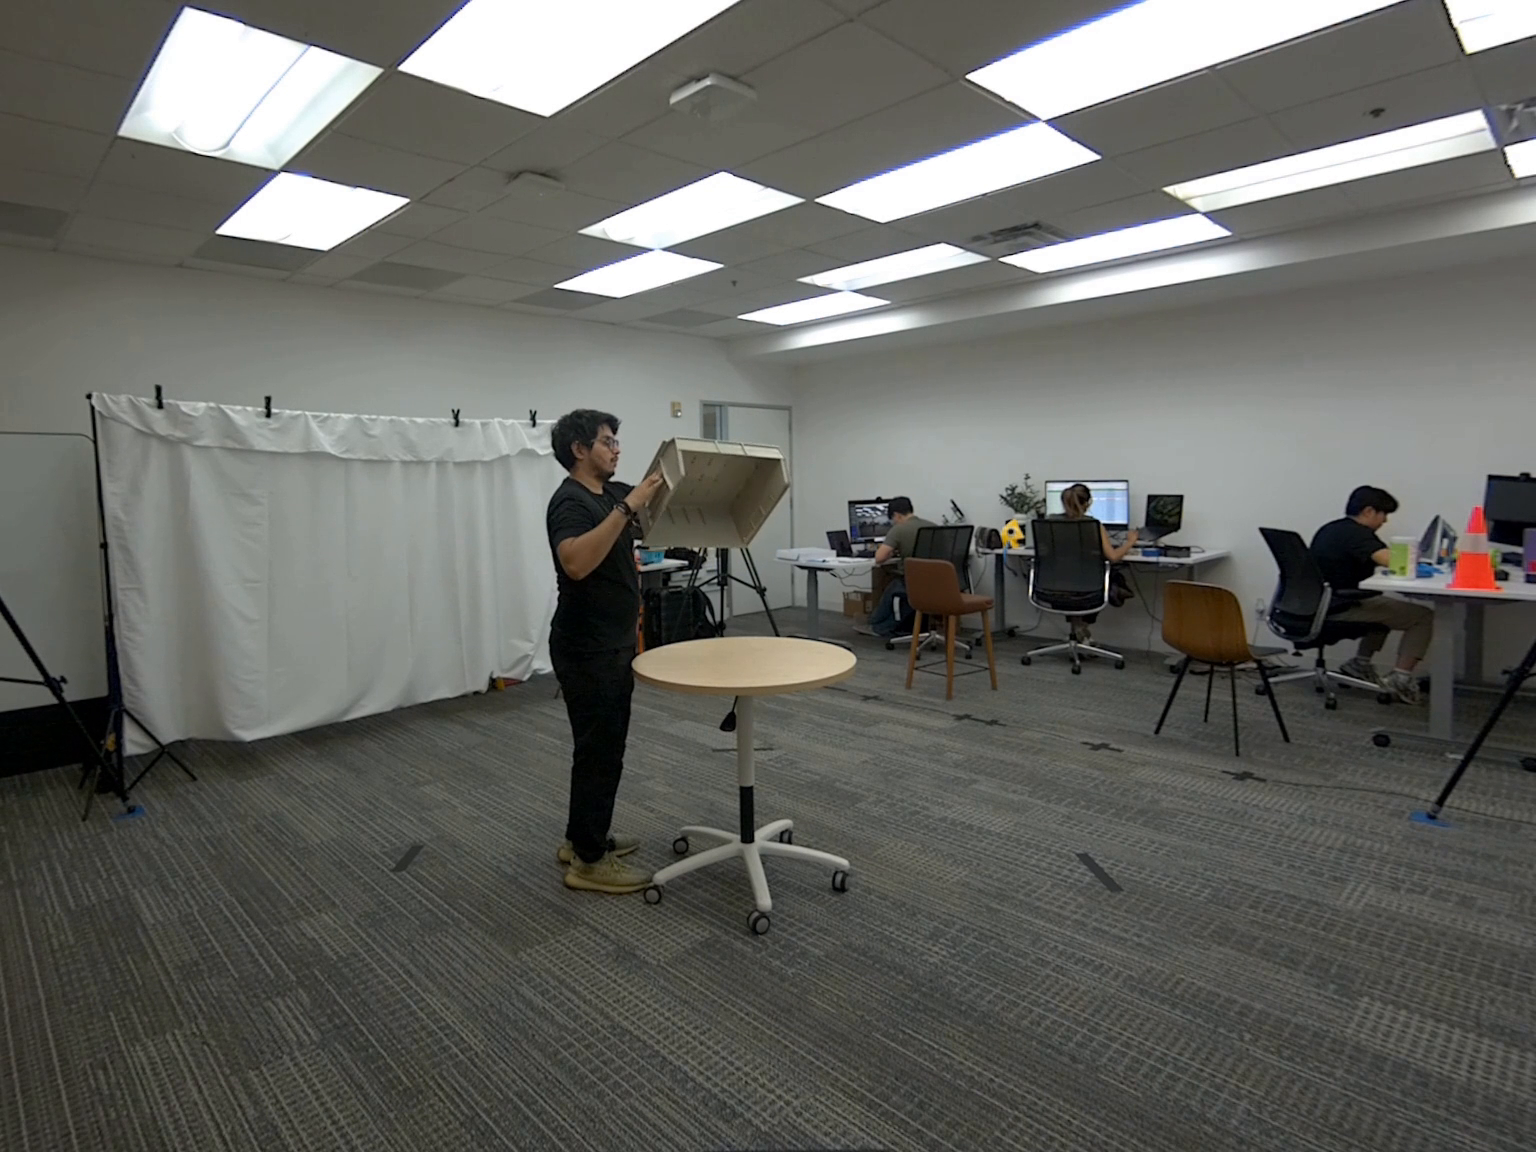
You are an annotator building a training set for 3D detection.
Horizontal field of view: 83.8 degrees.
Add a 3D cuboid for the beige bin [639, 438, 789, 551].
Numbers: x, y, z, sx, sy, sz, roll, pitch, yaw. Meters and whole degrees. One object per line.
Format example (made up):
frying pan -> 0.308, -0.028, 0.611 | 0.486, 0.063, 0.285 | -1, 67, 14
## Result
beige bin -> -0.191, -0.280, 2.873 | 0.411, 0.195, 0.375 | 0, -36, -34
